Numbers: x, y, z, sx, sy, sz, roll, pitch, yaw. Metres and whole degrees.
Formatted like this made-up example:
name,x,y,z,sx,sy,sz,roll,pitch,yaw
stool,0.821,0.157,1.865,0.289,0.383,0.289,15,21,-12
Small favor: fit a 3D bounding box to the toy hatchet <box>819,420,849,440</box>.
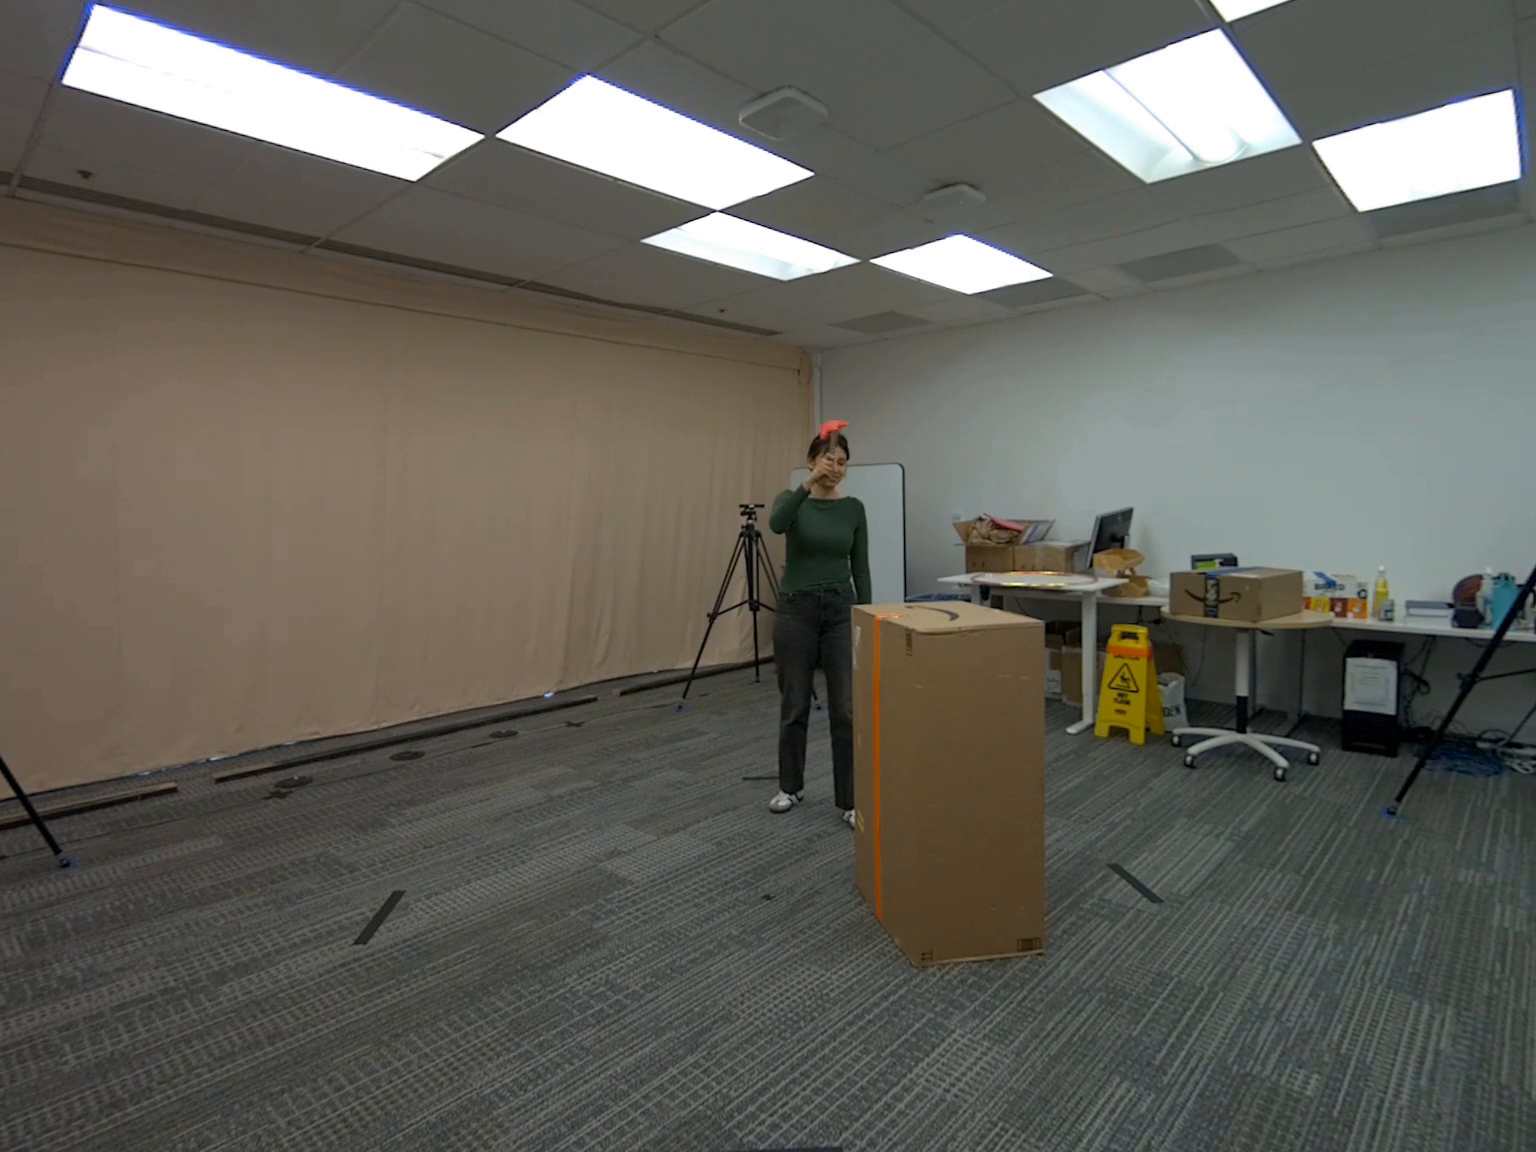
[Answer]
name,x,y,z,sx,sy,sz,roll,pitch,yaw
toy hatchet,0.218,-0.478,3.342,0.028,0.270,0.136,18,9,-43
